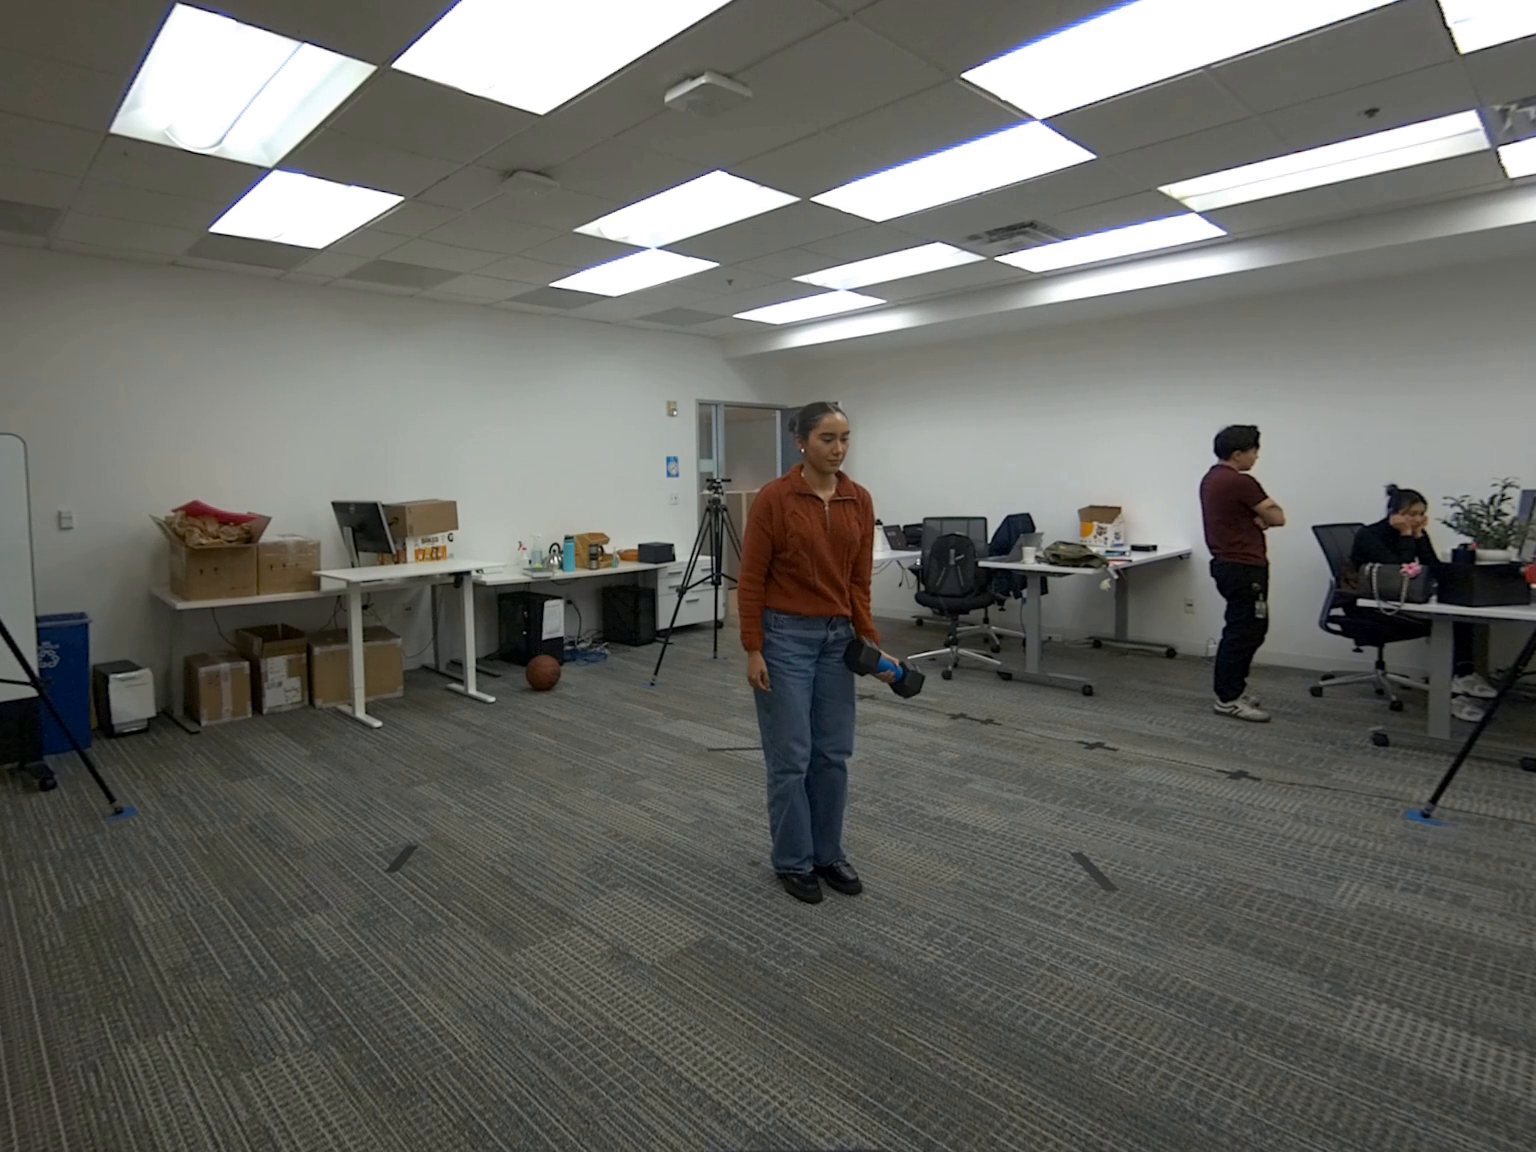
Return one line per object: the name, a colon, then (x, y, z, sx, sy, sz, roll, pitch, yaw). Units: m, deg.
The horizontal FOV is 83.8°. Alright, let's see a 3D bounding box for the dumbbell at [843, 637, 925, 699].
dumbbell: (0.391, 0.303, 2.857, 0.285, 0.124, 0.111, 27, -14, -27)
